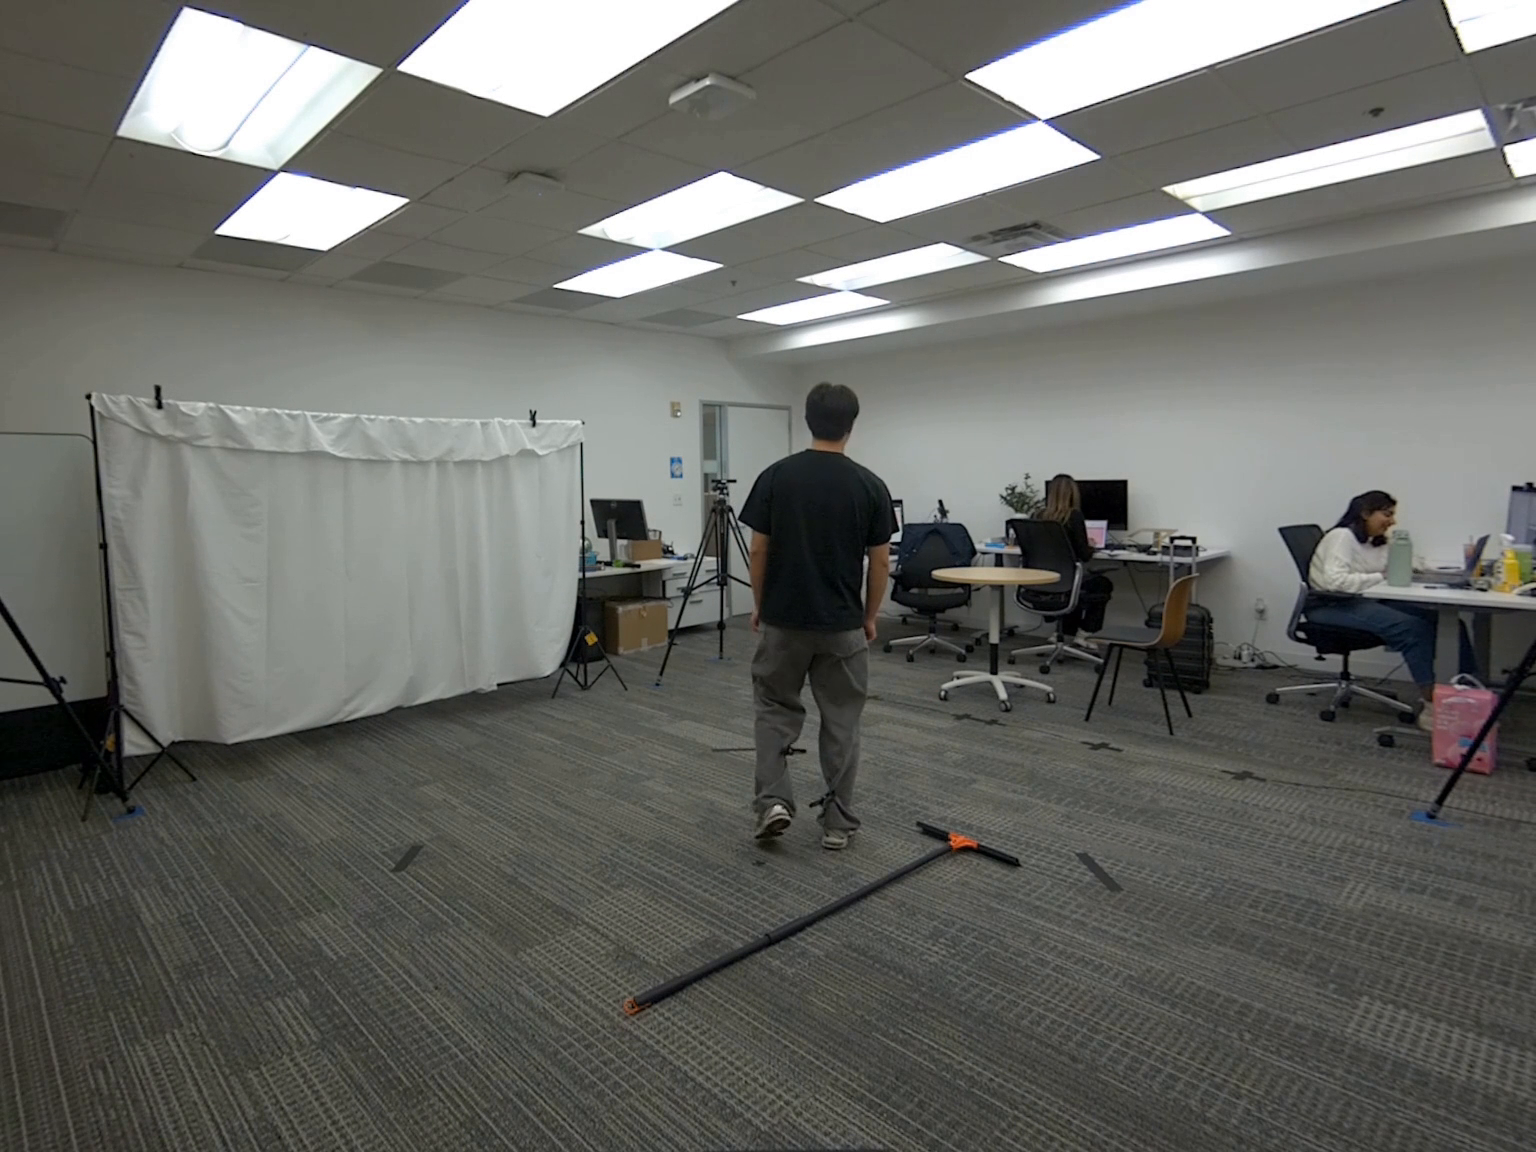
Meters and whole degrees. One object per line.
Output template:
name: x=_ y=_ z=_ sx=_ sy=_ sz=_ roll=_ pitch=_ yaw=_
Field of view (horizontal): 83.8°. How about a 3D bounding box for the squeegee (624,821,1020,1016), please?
squeegee: x=0.194 y=1.052 z=2.734 sx=1.499 sy=0.053 sz=0.450 roll=-8 pitch=8 yaw=-40
